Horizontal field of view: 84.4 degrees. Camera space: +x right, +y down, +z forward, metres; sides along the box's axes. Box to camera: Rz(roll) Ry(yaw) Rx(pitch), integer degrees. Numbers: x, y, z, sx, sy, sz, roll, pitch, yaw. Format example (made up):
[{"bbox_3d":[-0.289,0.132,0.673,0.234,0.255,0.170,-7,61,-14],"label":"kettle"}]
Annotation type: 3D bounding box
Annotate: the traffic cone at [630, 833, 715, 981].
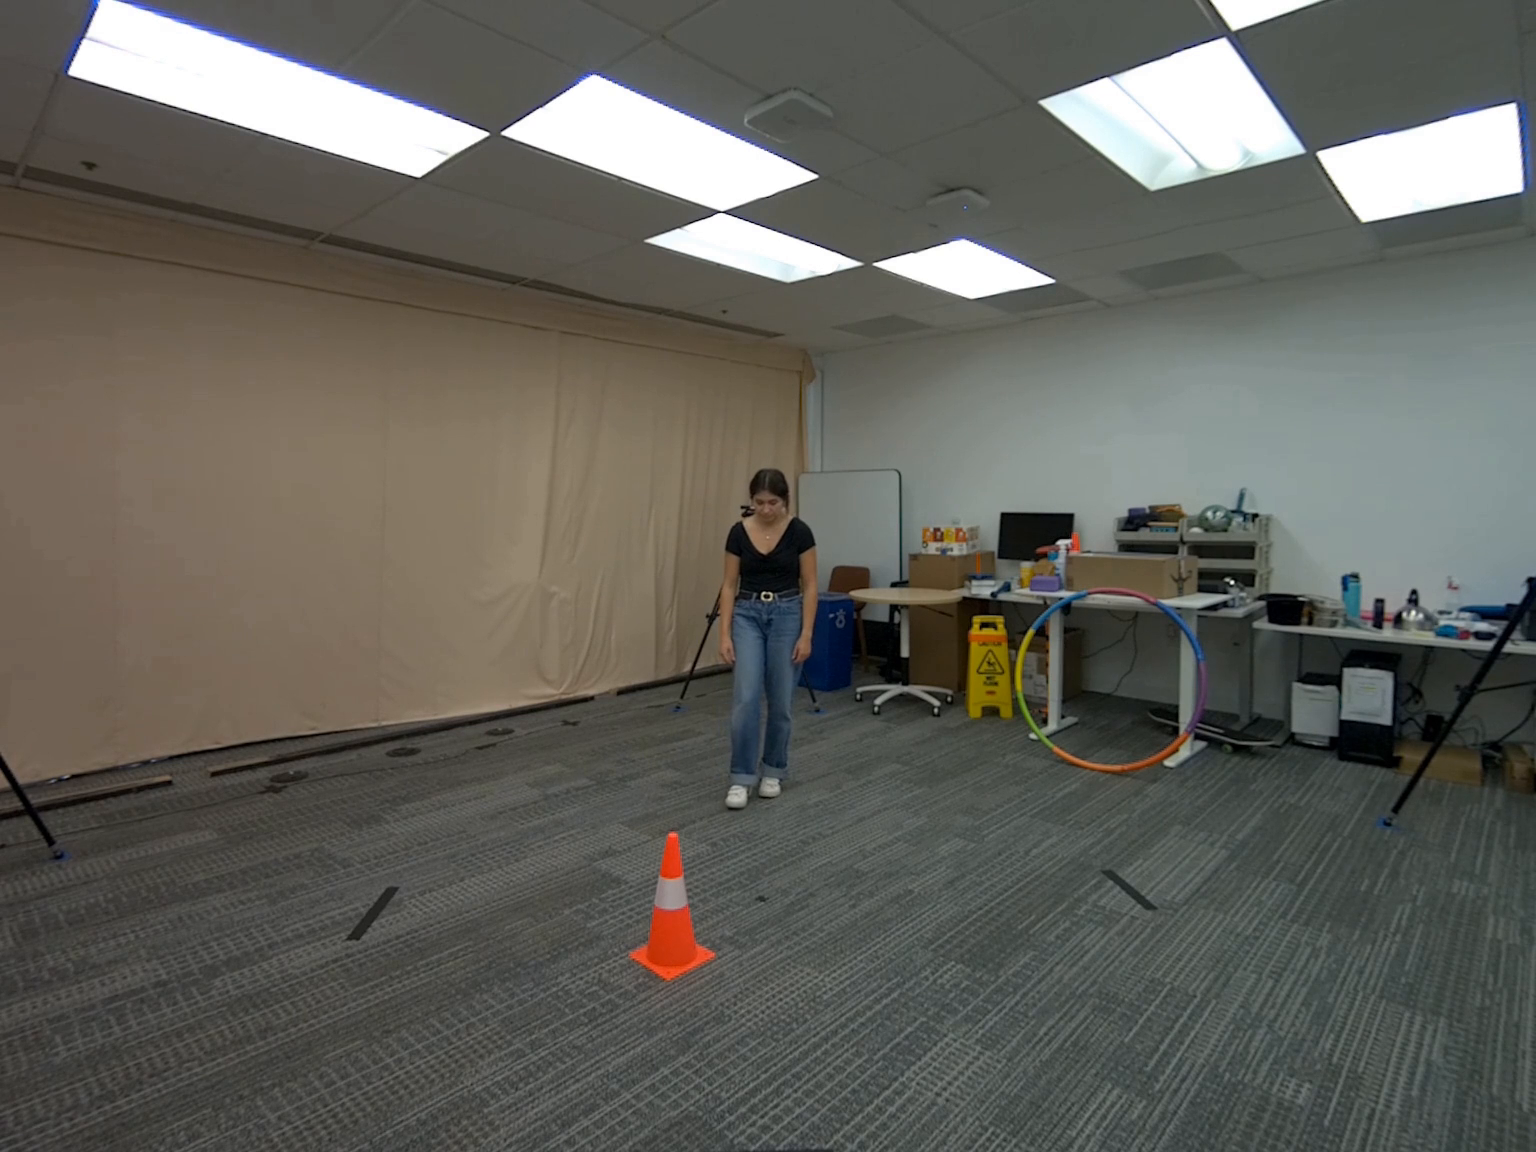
[{"bbox_3d":[-0.289,0.989,2.608,0.210,0.383,0.198,3,3,45],"label":"traffic cone"}]
